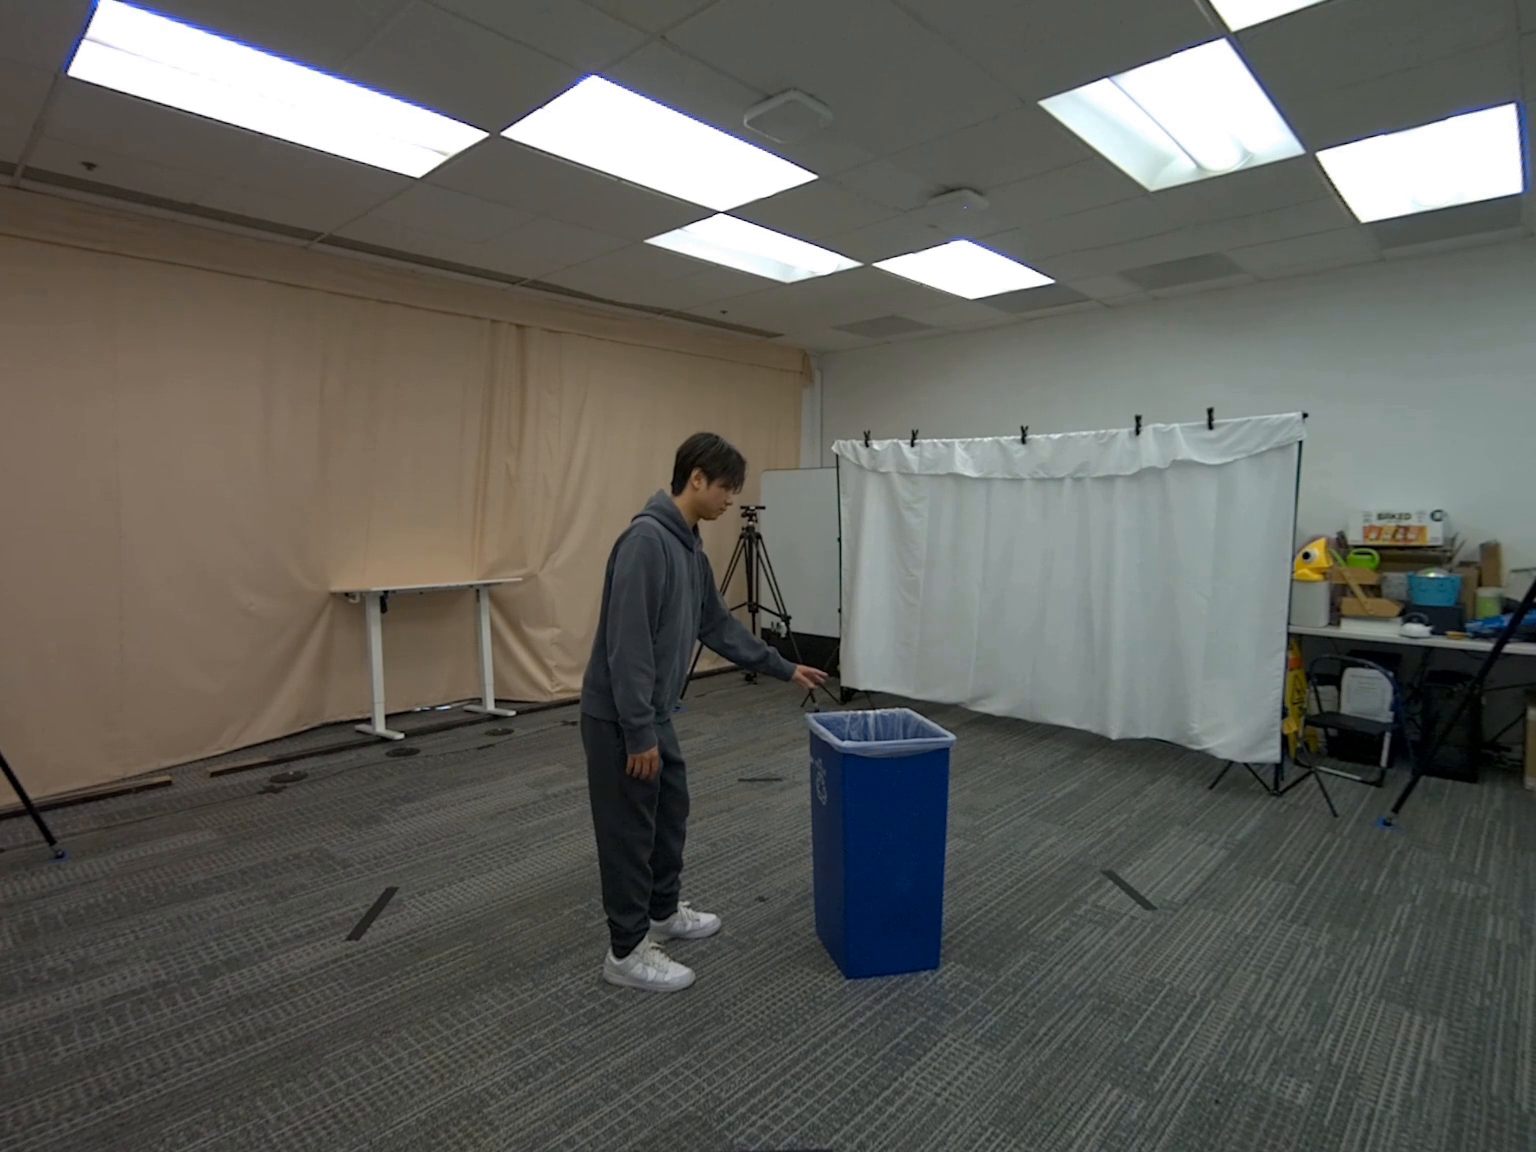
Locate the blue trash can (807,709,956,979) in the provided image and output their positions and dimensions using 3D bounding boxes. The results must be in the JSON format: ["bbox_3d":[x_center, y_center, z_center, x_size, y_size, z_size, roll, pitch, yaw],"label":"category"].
[{"bbox_3d":[0.343,0.815,2.620,0.373,0.712,0.380,-1,3,-13],"label":"blue trash can"}]
